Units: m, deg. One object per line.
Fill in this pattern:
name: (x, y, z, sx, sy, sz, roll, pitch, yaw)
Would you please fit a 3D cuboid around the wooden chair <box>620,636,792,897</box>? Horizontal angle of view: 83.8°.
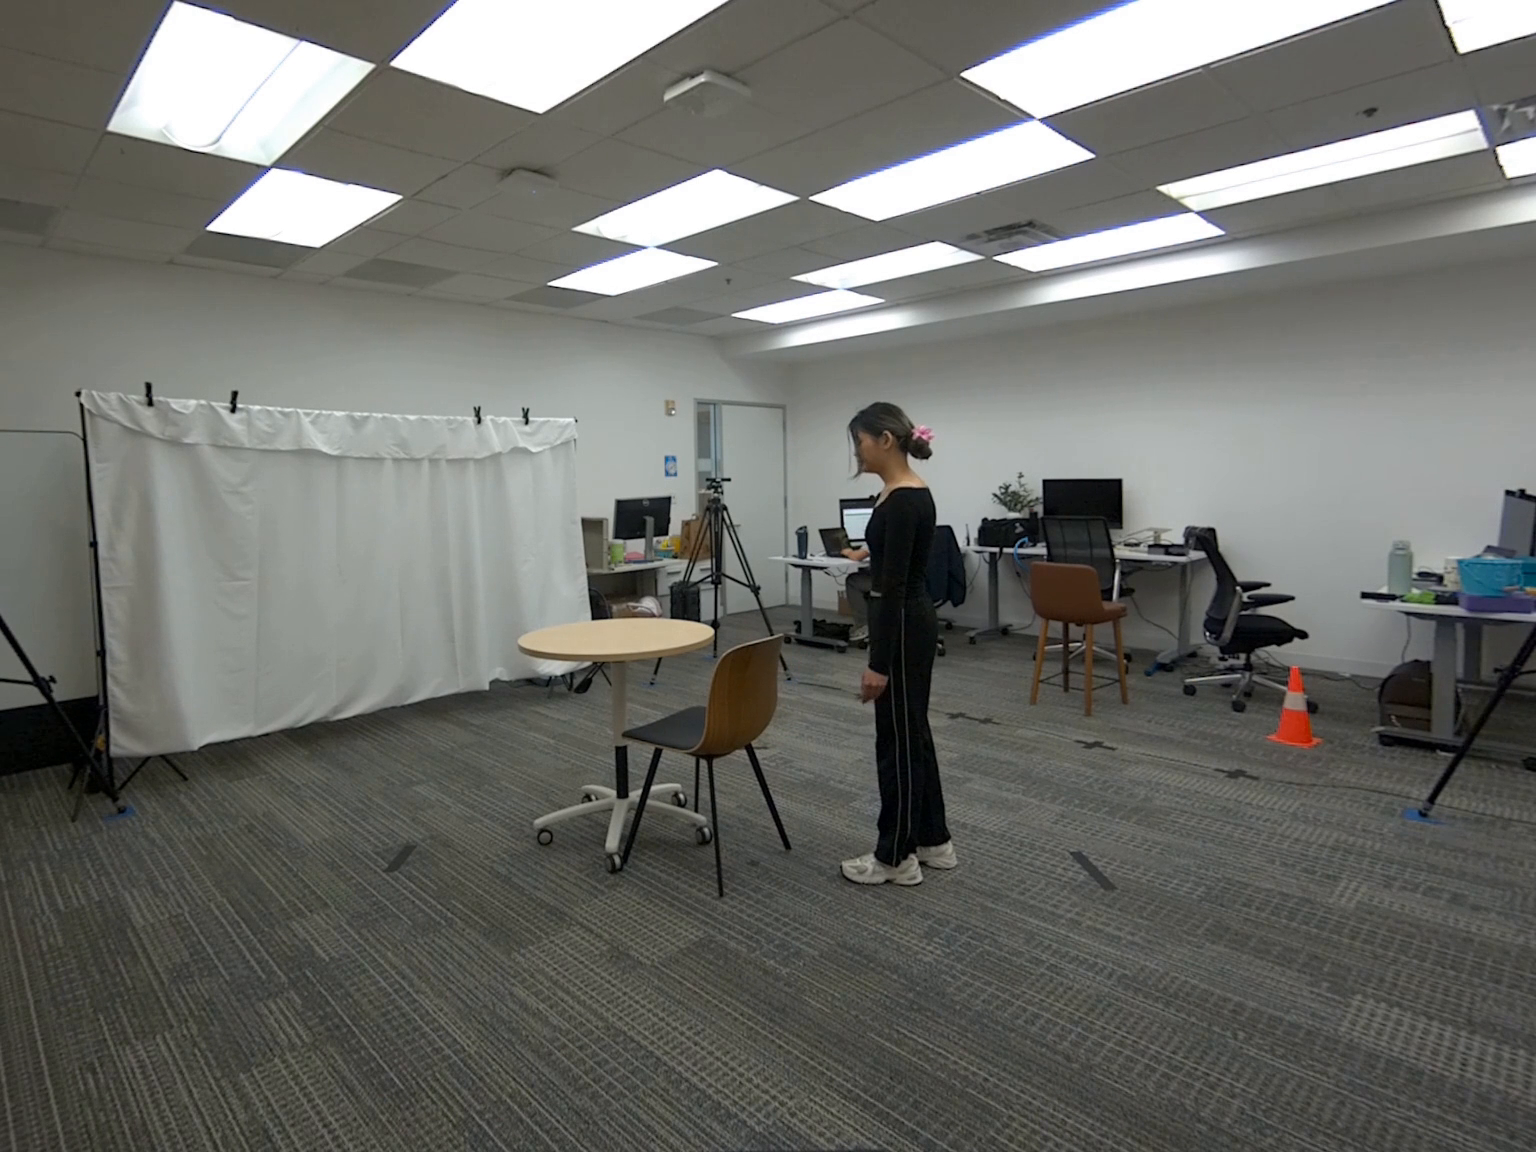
wooden chair: (-0.232, 0.610, 3.128, 0.539, 0.872, 0.467, 8, 9, 34)
